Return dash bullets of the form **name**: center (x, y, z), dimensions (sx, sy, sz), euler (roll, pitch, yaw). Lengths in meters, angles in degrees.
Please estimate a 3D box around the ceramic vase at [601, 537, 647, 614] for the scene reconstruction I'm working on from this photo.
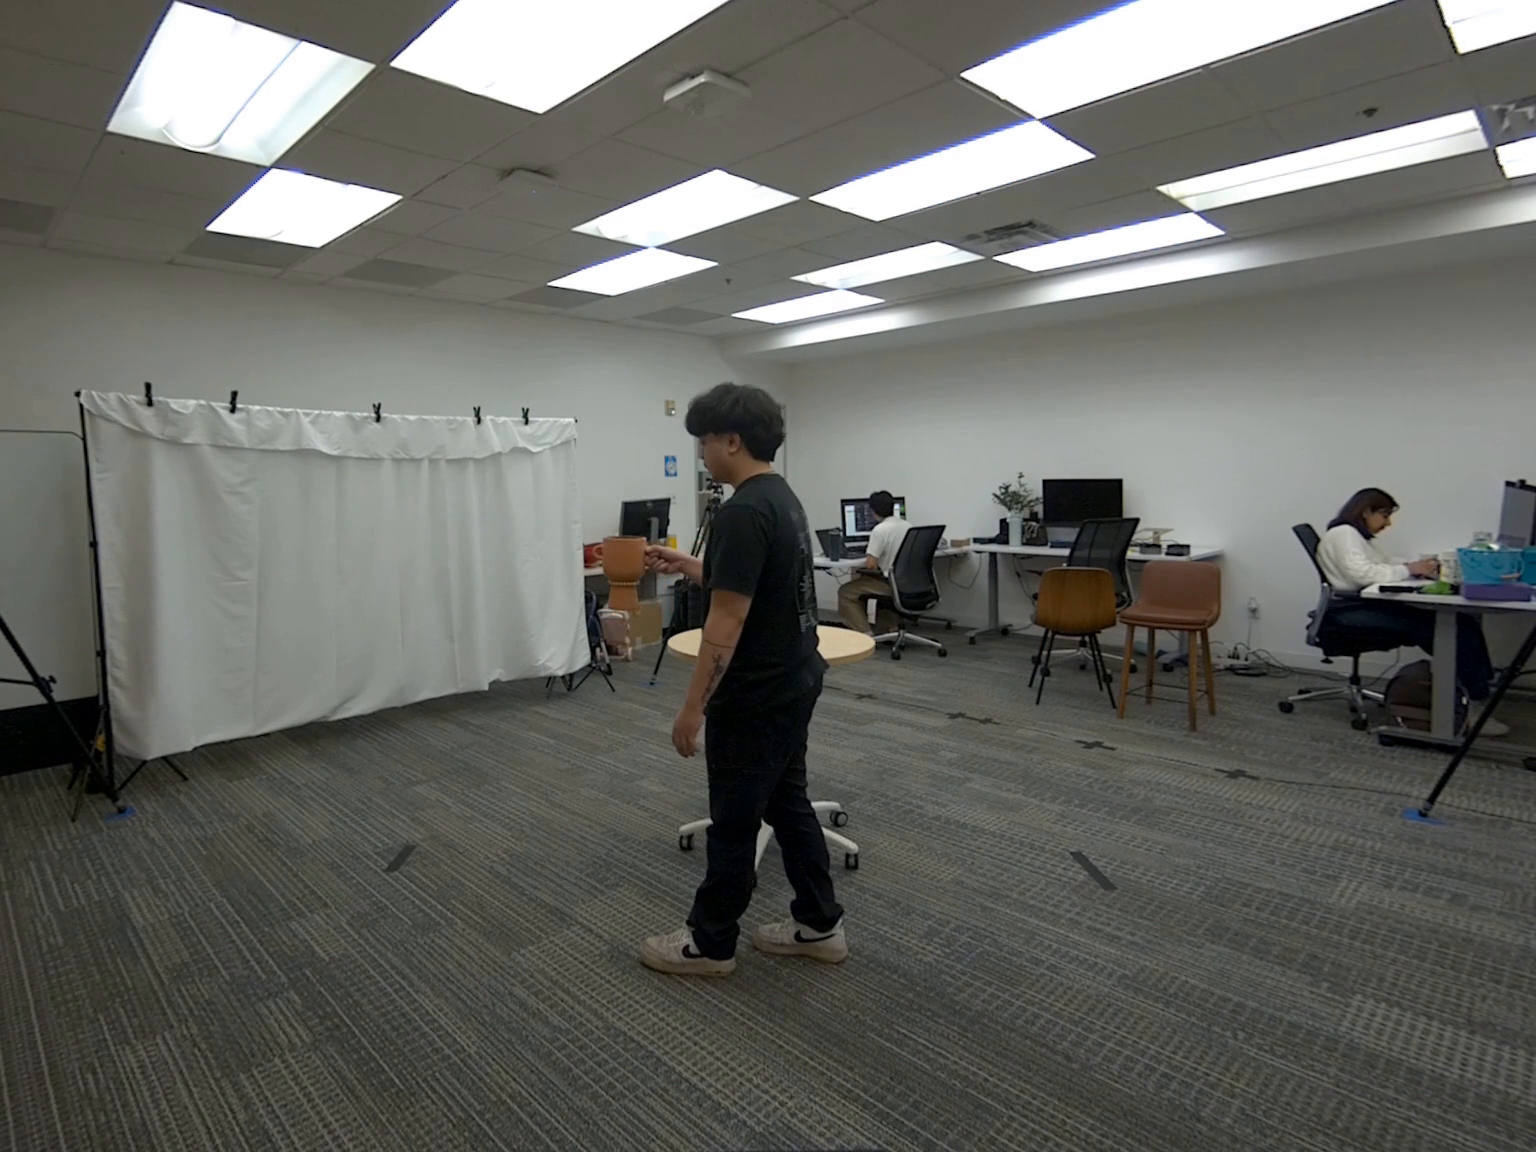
- **ceramic vase**: center (-0.438, -0.012, 2.631), dimensions (0.163, 0.219, 0.131), euler (3, 4, 38)
